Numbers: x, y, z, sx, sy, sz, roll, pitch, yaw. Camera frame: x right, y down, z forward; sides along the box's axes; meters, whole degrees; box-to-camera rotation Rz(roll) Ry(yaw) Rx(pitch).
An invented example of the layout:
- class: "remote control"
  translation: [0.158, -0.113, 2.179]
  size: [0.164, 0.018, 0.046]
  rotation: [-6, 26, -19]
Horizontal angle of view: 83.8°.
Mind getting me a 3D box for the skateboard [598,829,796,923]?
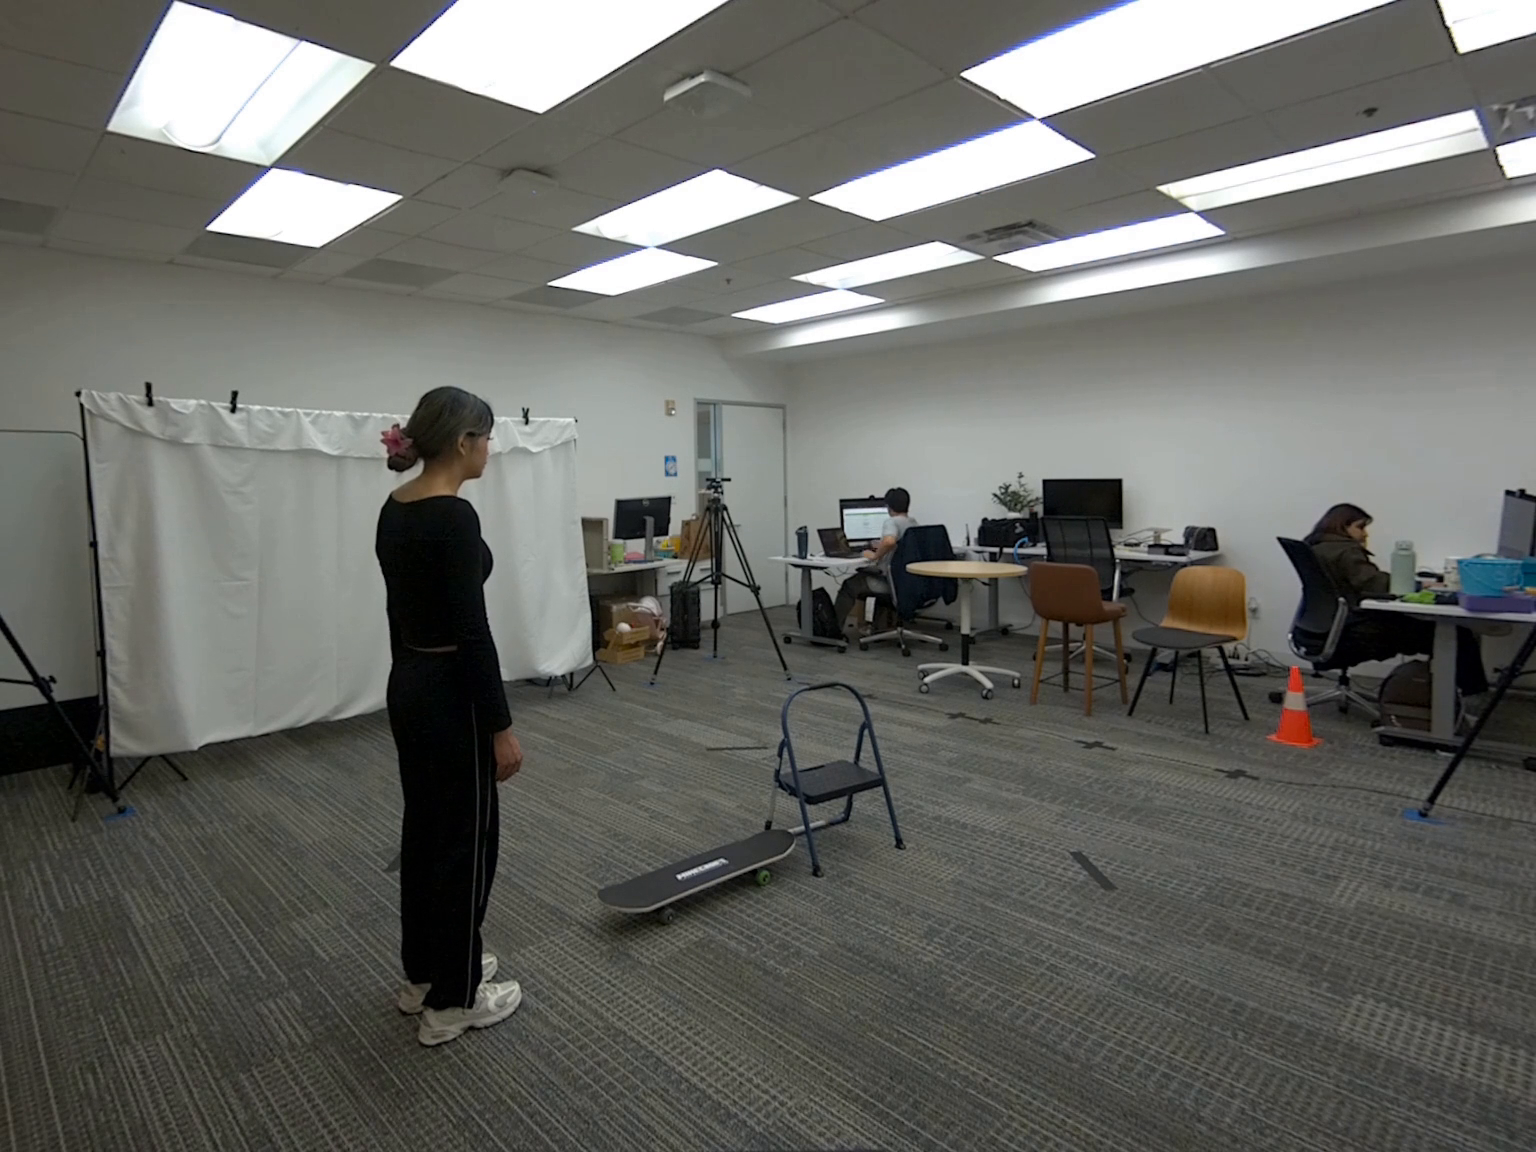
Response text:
- class: "skateboard"
  translation: [-0.217, 1.016, 2.867]
  size: [0.765, 0.110, 0.199]
  rotation: [-7, 7, -40]
